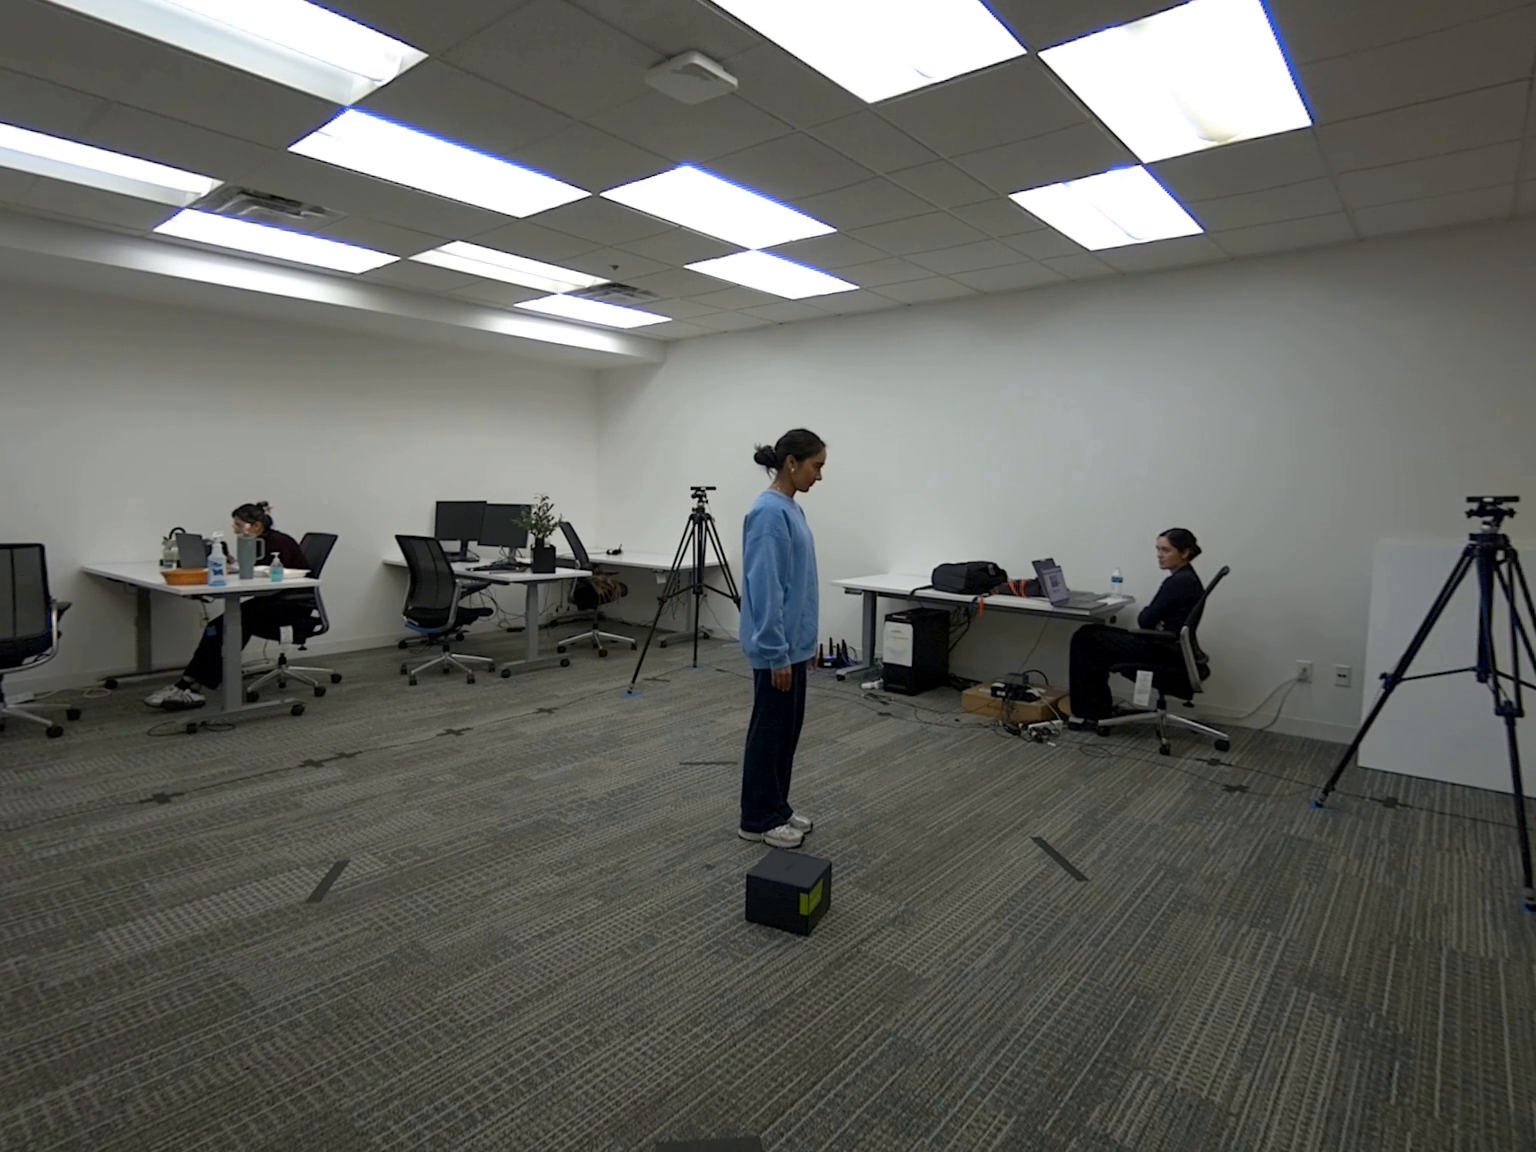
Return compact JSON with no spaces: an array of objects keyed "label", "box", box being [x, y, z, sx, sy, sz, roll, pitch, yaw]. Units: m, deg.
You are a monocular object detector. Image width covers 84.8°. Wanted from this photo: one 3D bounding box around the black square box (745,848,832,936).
[{"label":"black square box","box":[0.063,1.019,2.777,0.222,0.155,0.223,4,5,23]}]
